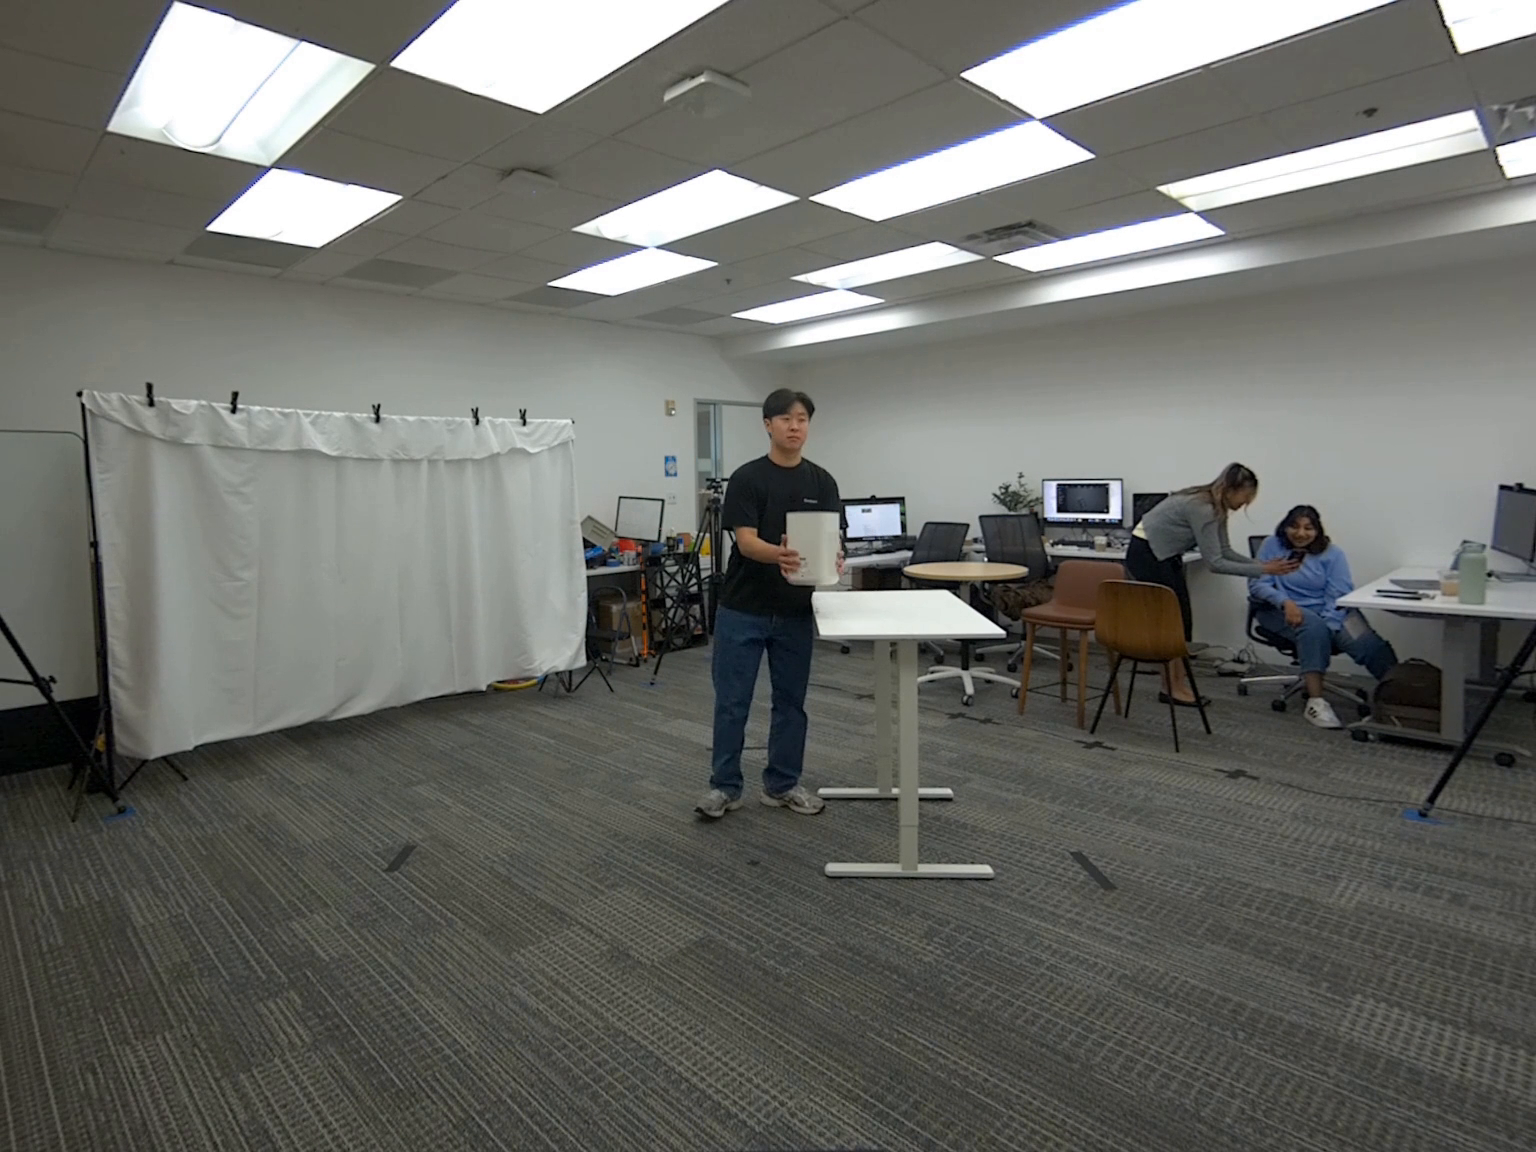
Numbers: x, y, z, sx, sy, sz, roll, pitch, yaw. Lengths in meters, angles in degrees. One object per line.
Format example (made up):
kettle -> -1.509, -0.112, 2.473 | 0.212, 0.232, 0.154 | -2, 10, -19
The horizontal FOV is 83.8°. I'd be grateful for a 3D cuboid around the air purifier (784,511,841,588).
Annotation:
air purifier -> 0.169, -0.100, 3.155 | 0.175, 0.265, 0.167 | -1, 0, 27
